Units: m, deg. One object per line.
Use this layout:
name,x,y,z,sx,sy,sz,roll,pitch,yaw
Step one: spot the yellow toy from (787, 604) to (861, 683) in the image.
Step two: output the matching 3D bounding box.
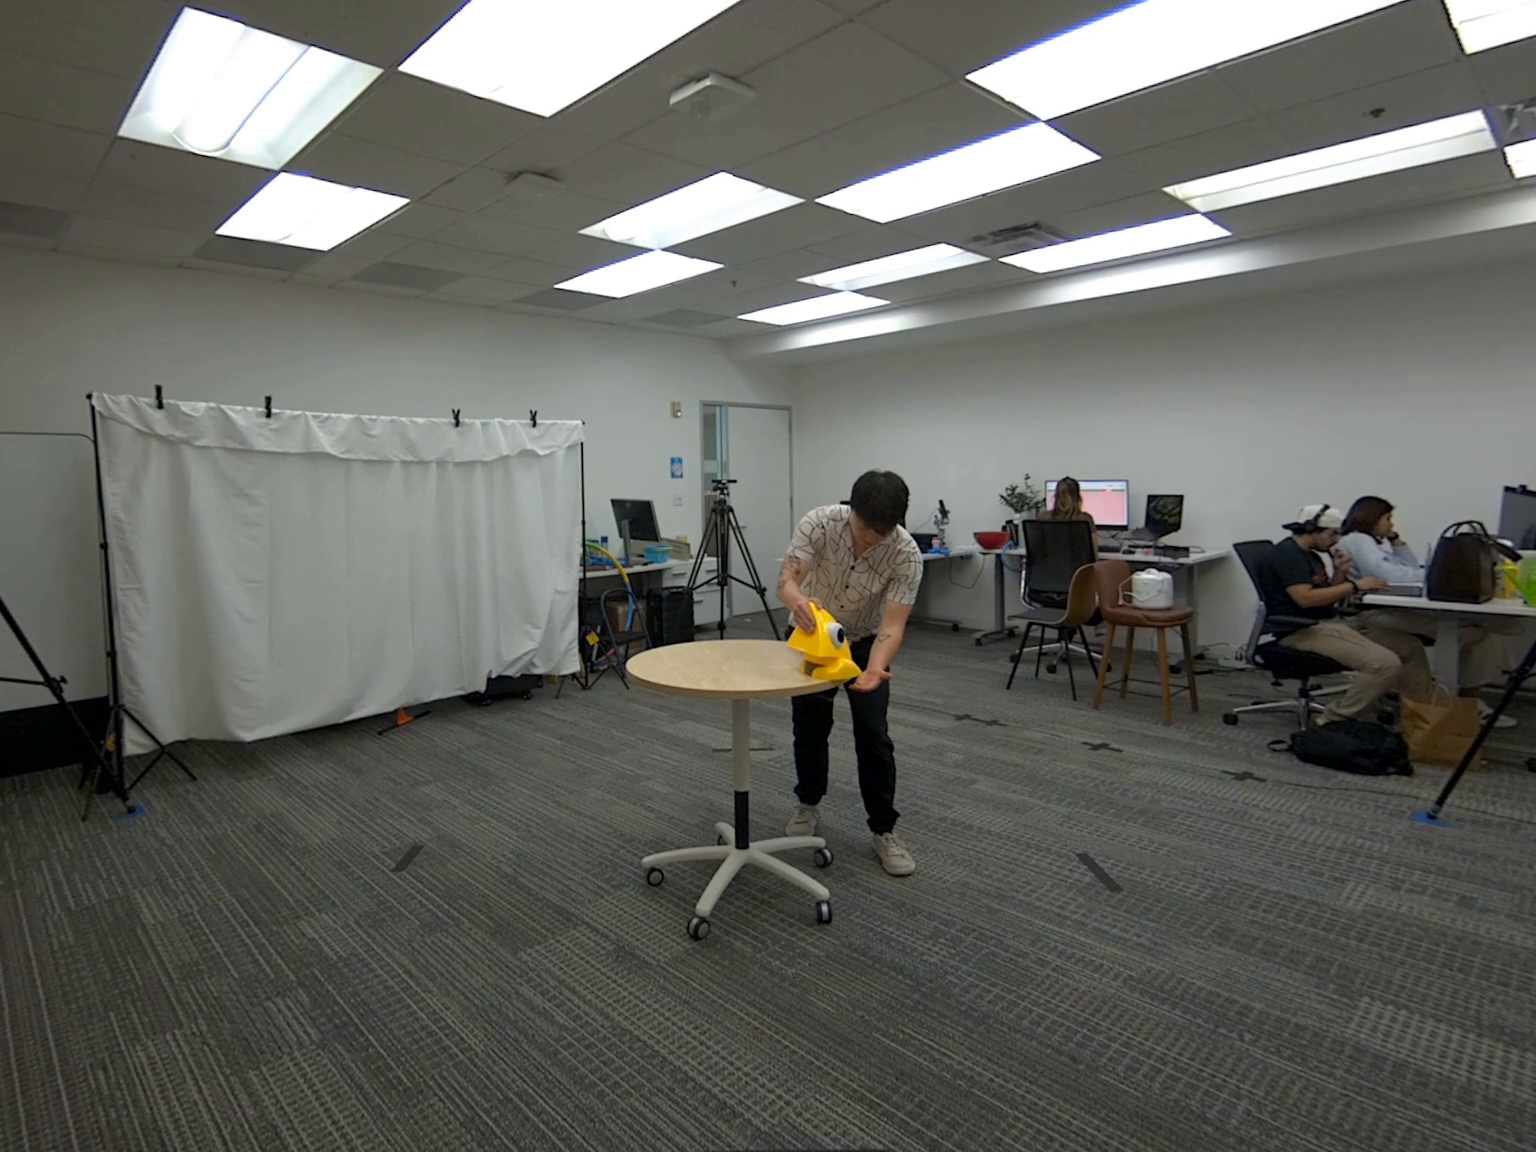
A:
yellow toy,0.192,0.198,2.711,0.189,0.229,0.211,-3,8,-29
